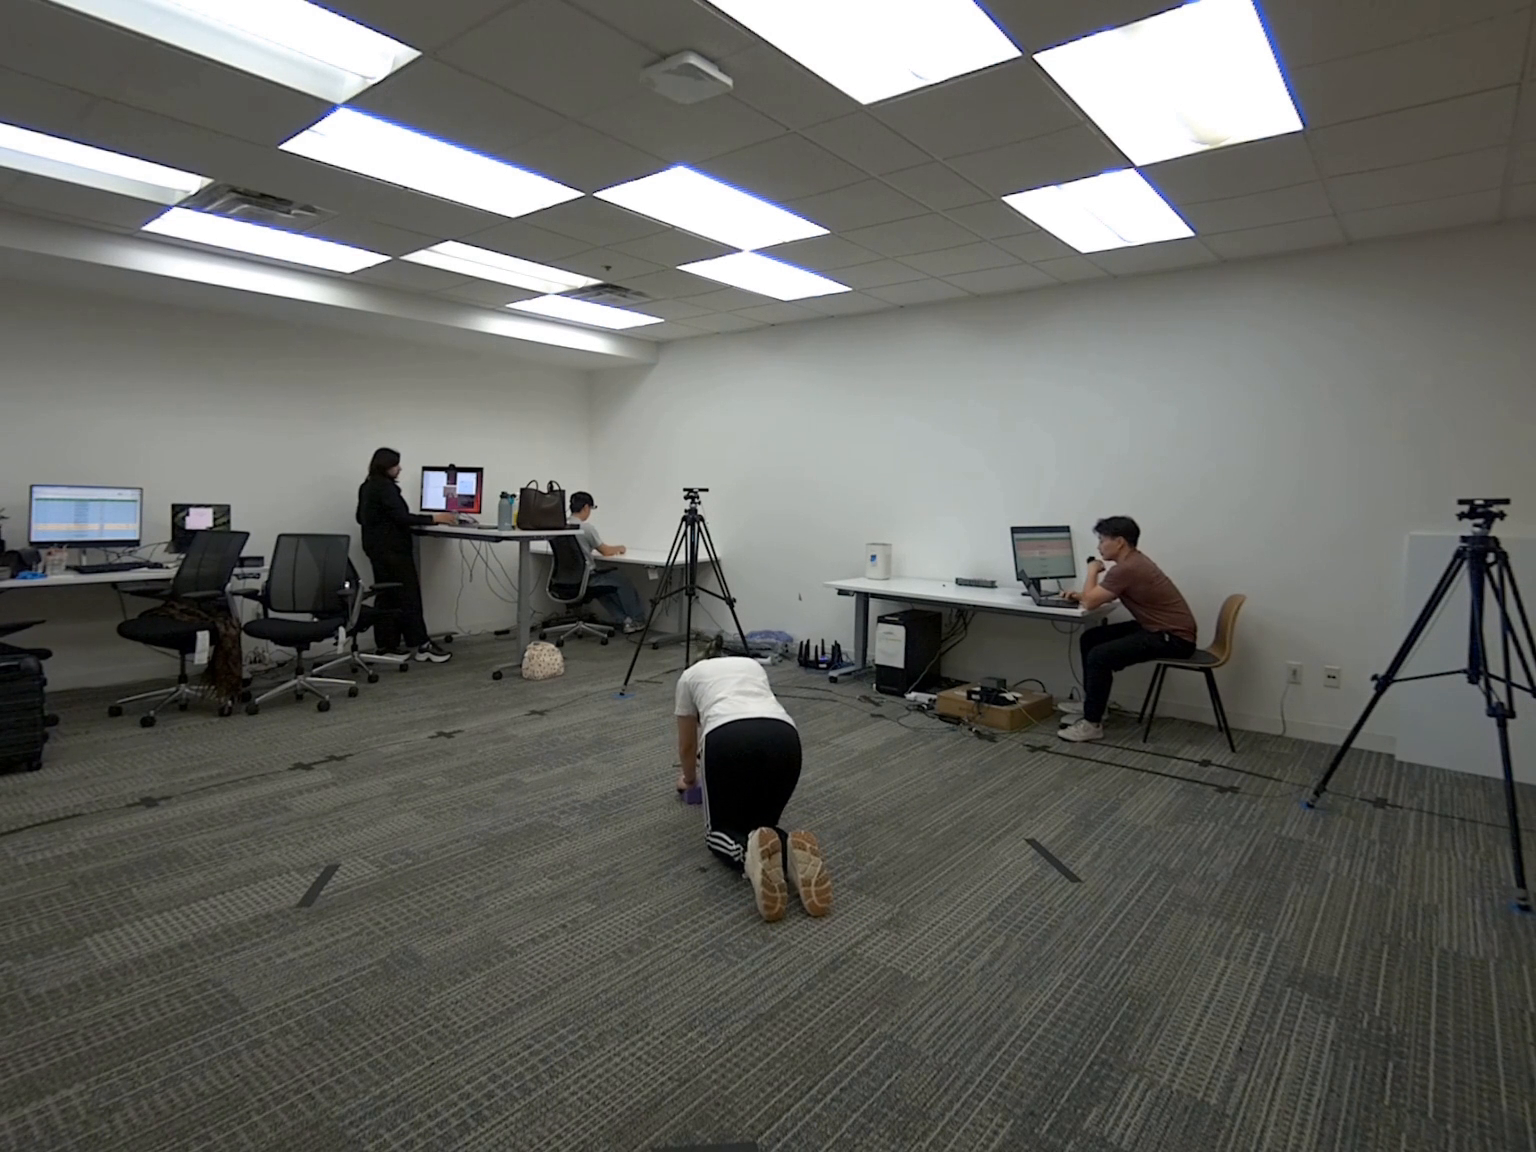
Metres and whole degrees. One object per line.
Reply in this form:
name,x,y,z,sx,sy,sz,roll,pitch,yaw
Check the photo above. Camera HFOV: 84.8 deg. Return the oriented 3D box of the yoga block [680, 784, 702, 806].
yoga block,-0.273,0.955,3.835,0.226,0.076,0.152,-1,5,-15
